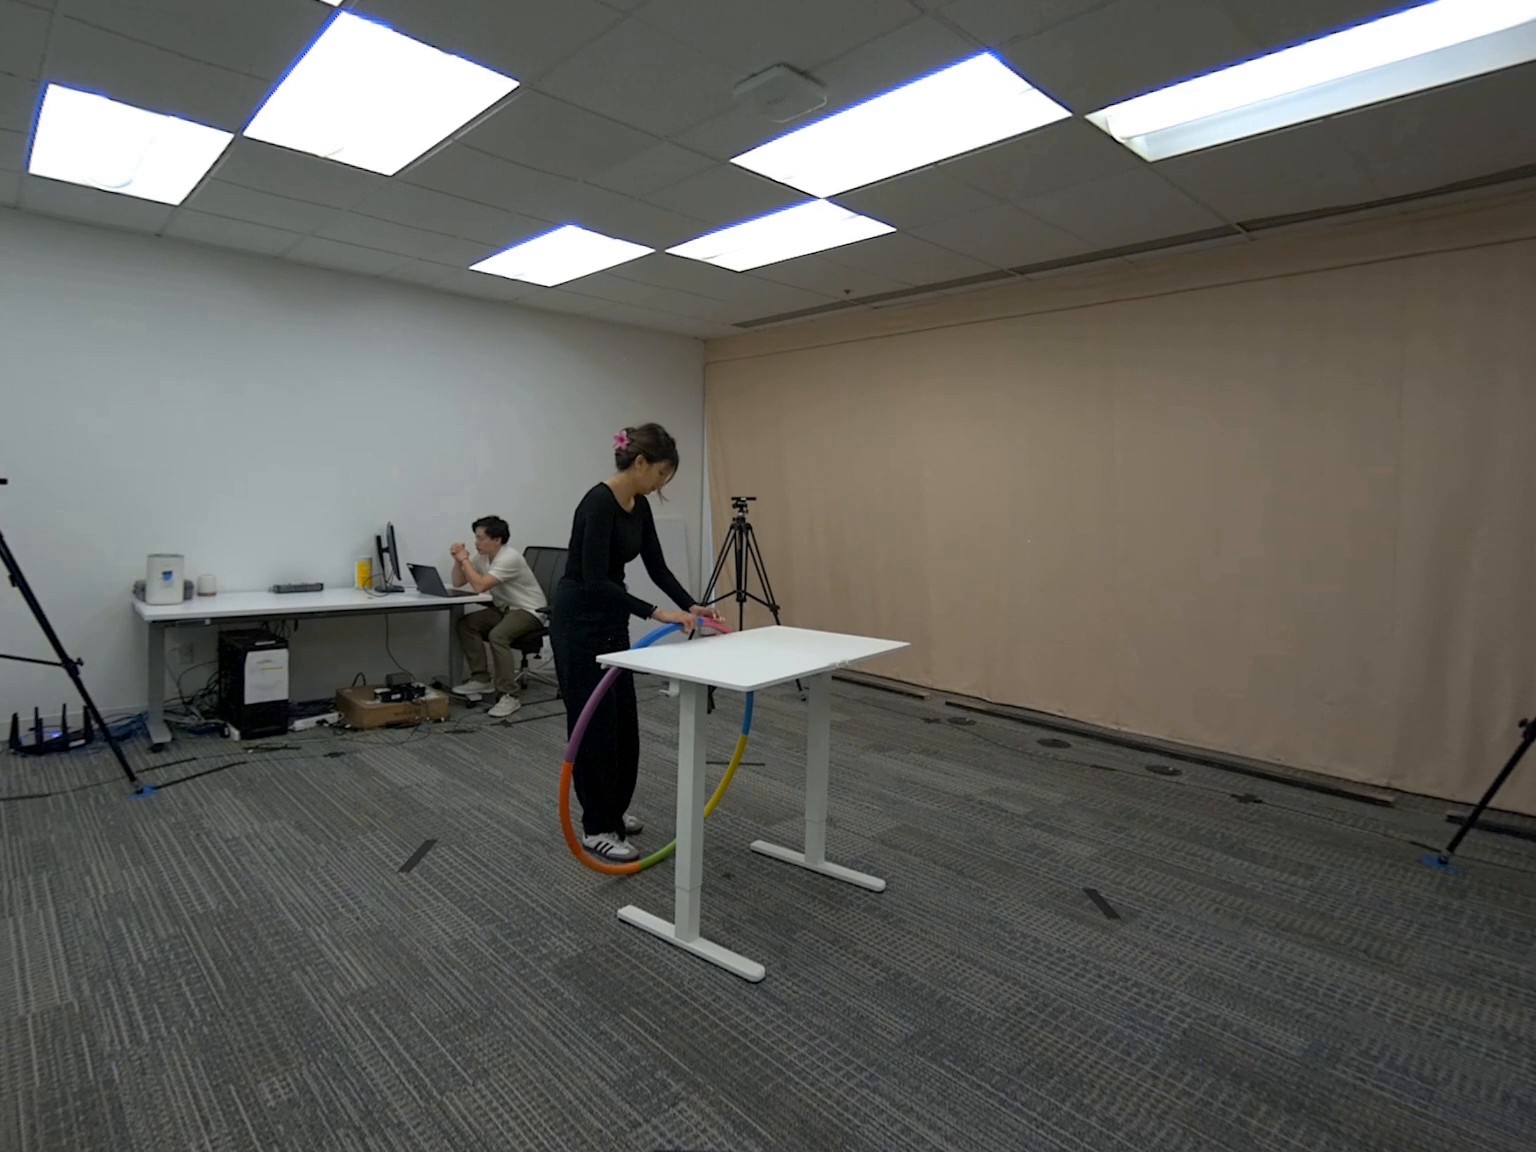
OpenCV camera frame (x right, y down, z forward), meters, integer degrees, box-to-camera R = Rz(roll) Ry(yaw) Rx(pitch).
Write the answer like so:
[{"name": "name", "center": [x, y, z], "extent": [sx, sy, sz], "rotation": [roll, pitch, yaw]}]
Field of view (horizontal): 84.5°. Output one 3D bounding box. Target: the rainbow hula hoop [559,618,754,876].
[{"name": "rainbow hula hoop", "center": [-0.373, 0.620, 3.092], "extent": [0.036, 0.972, 0.957], "rotation": [18, 14, 35]}]
